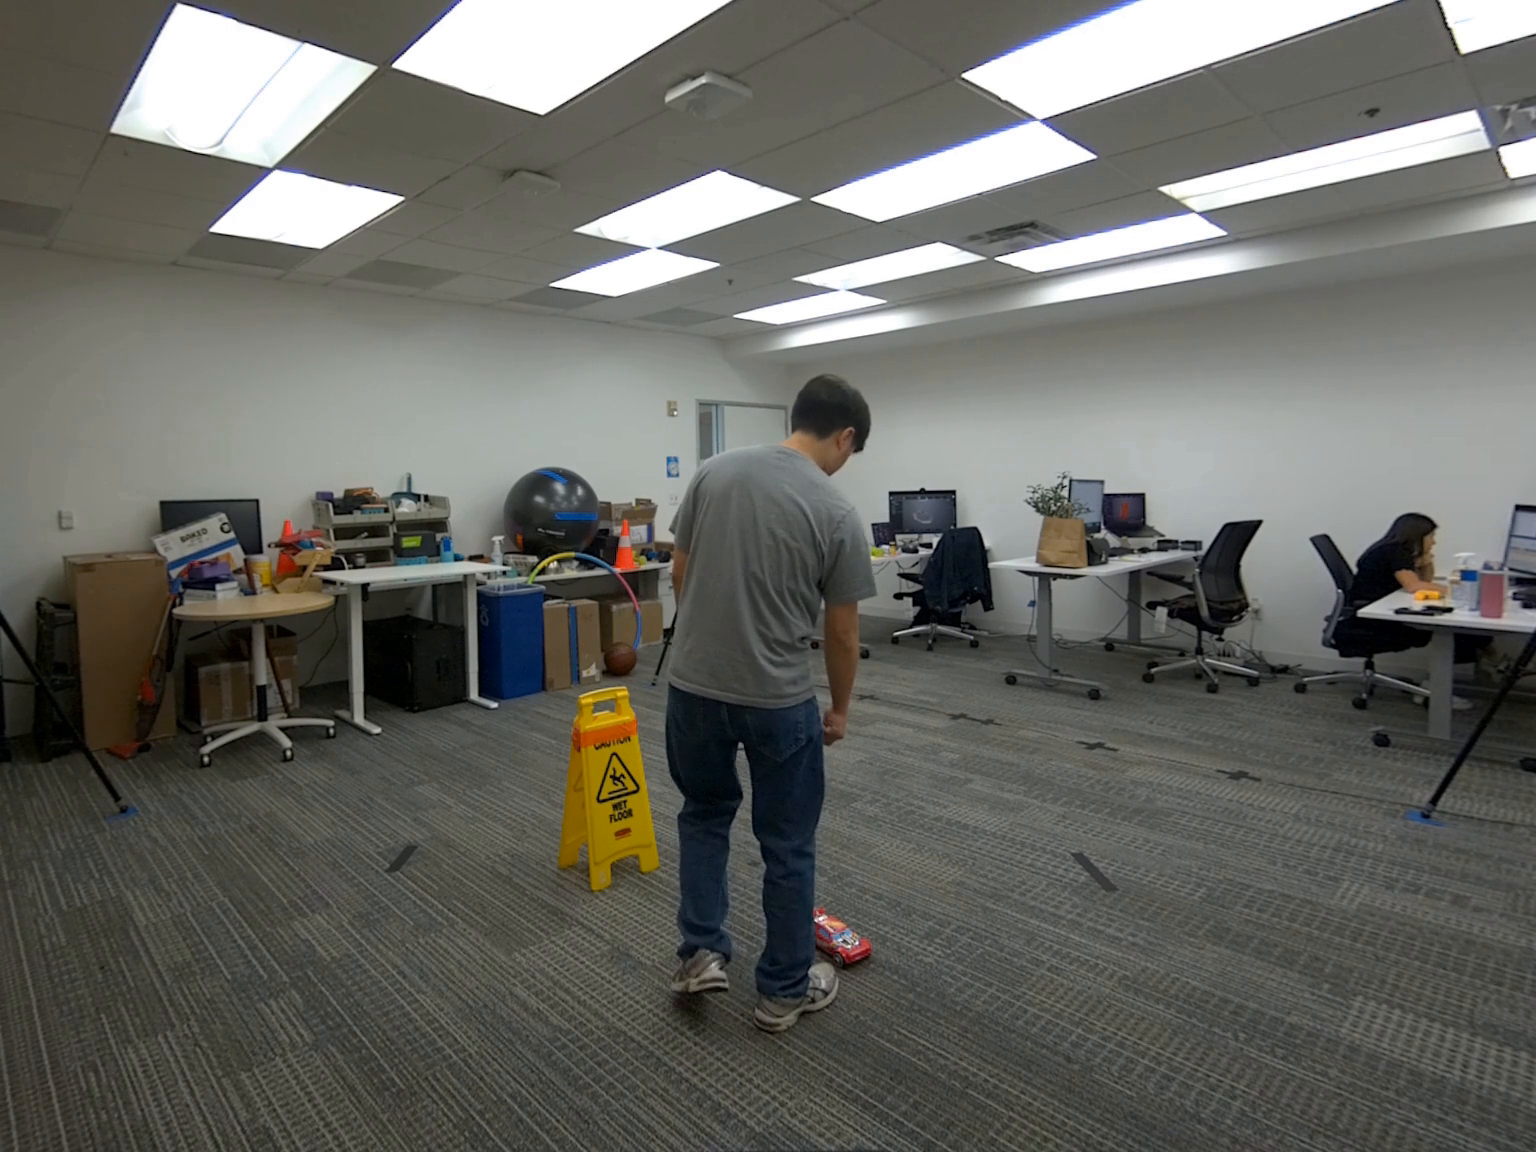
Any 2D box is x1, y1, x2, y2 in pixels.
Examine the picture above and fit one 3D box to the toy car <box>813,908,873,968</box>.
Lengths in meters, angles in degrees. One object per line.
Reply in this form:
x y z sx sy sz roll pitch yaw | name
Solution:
0.196 1.076 2.542 0.127 0.082 0.264 -6 18 -34 | toy car
